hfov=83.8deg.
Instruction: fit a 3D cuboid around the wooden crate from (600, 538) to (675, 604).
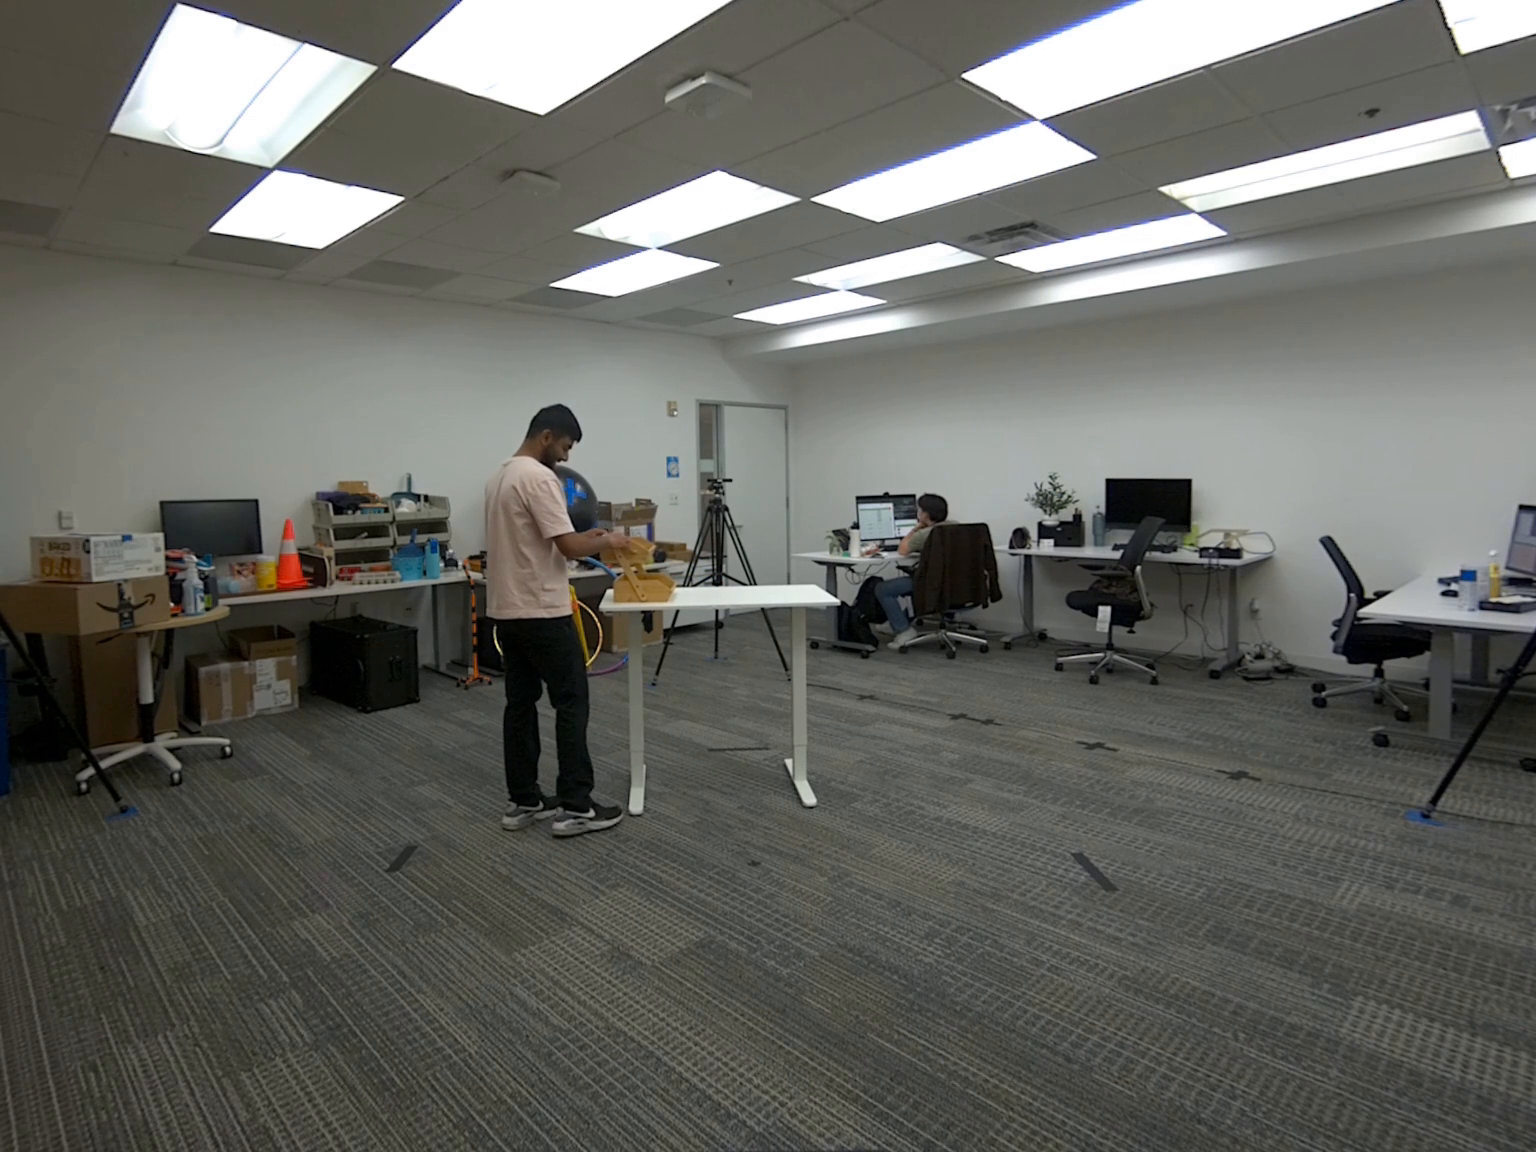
[{"bbox_3d":[-0.560,-0.039,3.787,0.302,0.272,0.326,-3,5,-2],"label":"wooden crate"}]
